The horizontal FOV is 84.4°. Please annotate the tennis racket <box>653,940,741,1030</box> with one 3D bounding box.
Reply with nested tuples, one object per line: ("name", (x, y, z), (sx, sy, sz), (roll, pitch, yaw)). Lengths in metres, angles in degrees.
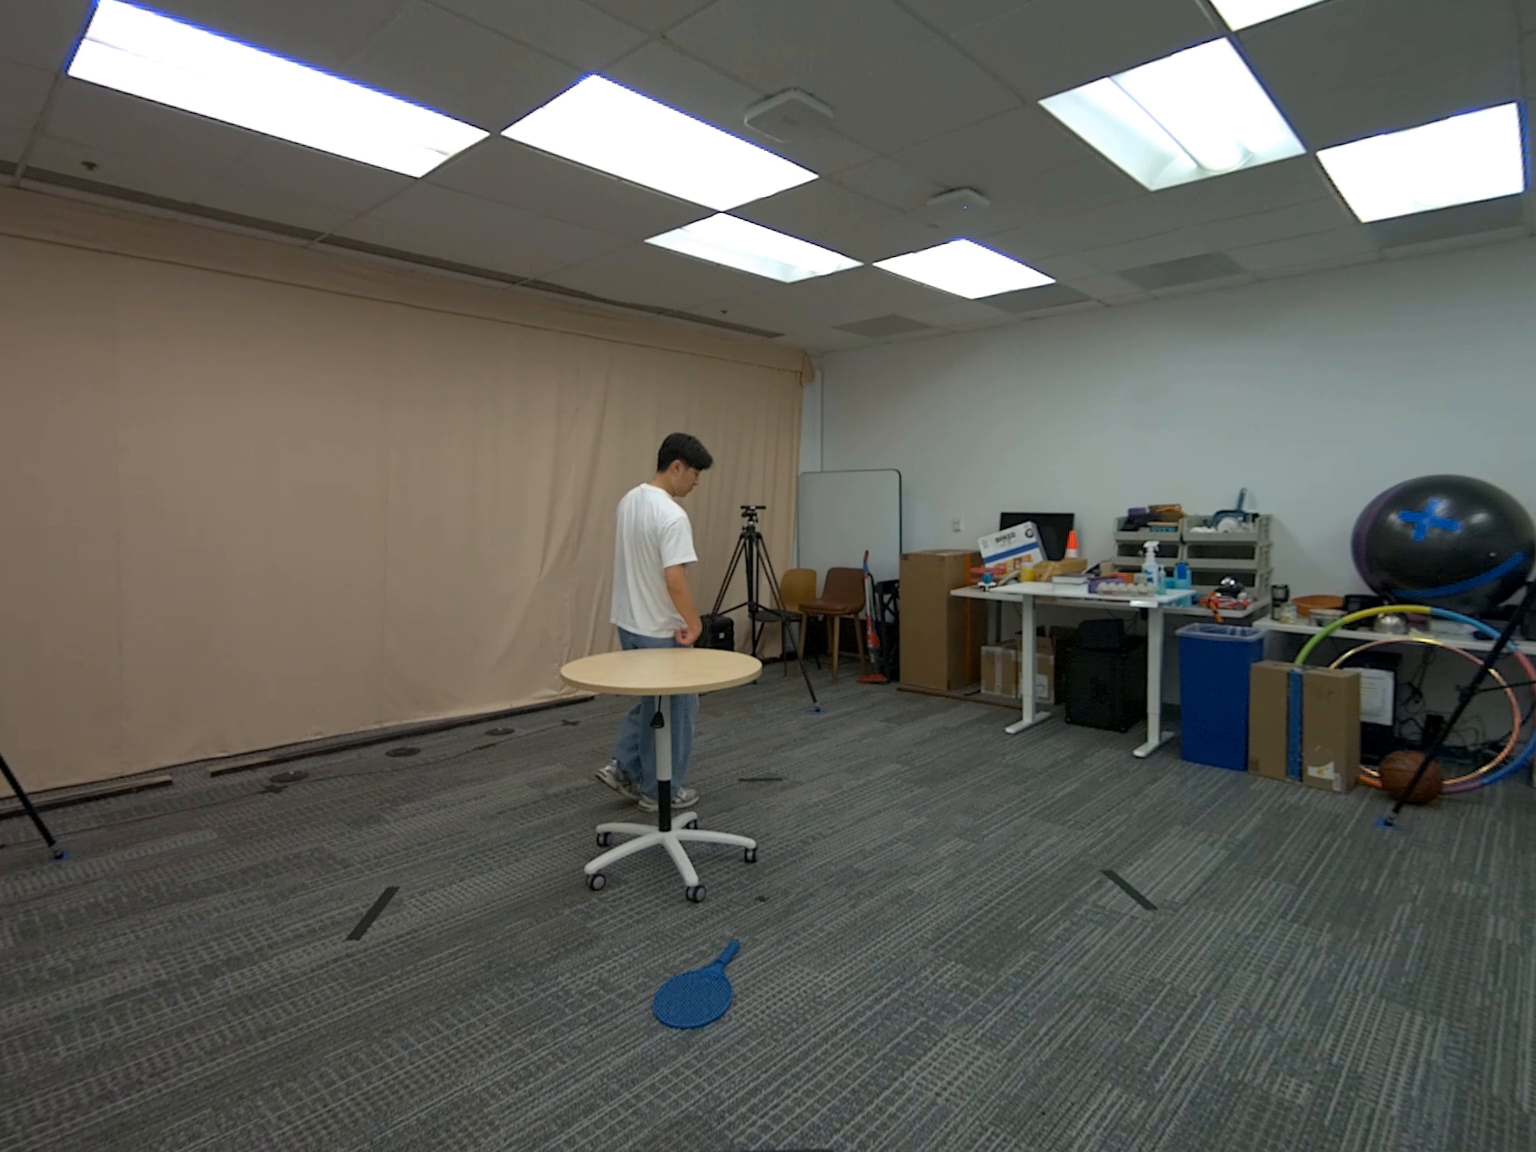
("tennis racket", (-0.177, 1.177, 2.441), (0.219, 0.031, 0.424), (3, 7, 24))
